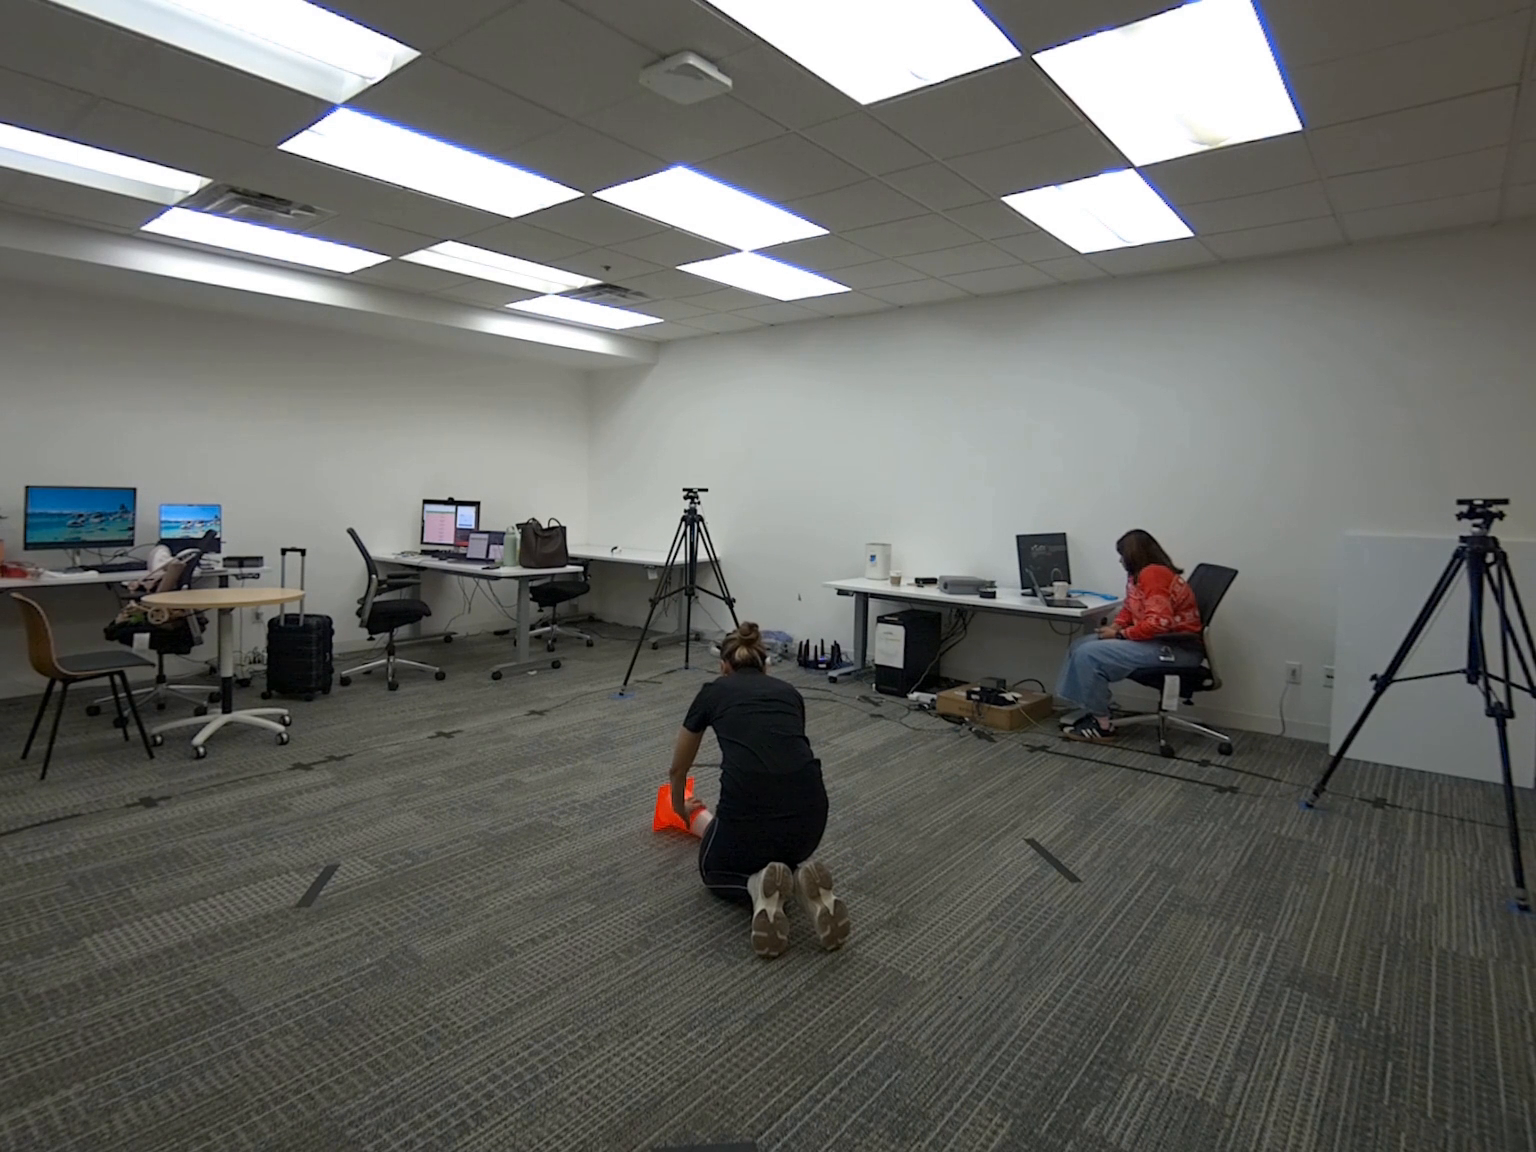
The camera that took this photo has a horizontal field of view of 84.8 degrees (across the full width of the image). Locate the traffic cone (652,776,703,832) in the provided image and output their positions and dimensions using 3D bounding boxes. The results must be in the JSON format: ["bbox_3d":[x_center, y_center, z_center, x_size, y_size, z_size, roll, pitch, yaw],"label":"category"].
[{"bbox_3d":[-0.256,0.983,3.374,0.399,0.203,0.197,20,14,40],"label":"traffic cone"}]
